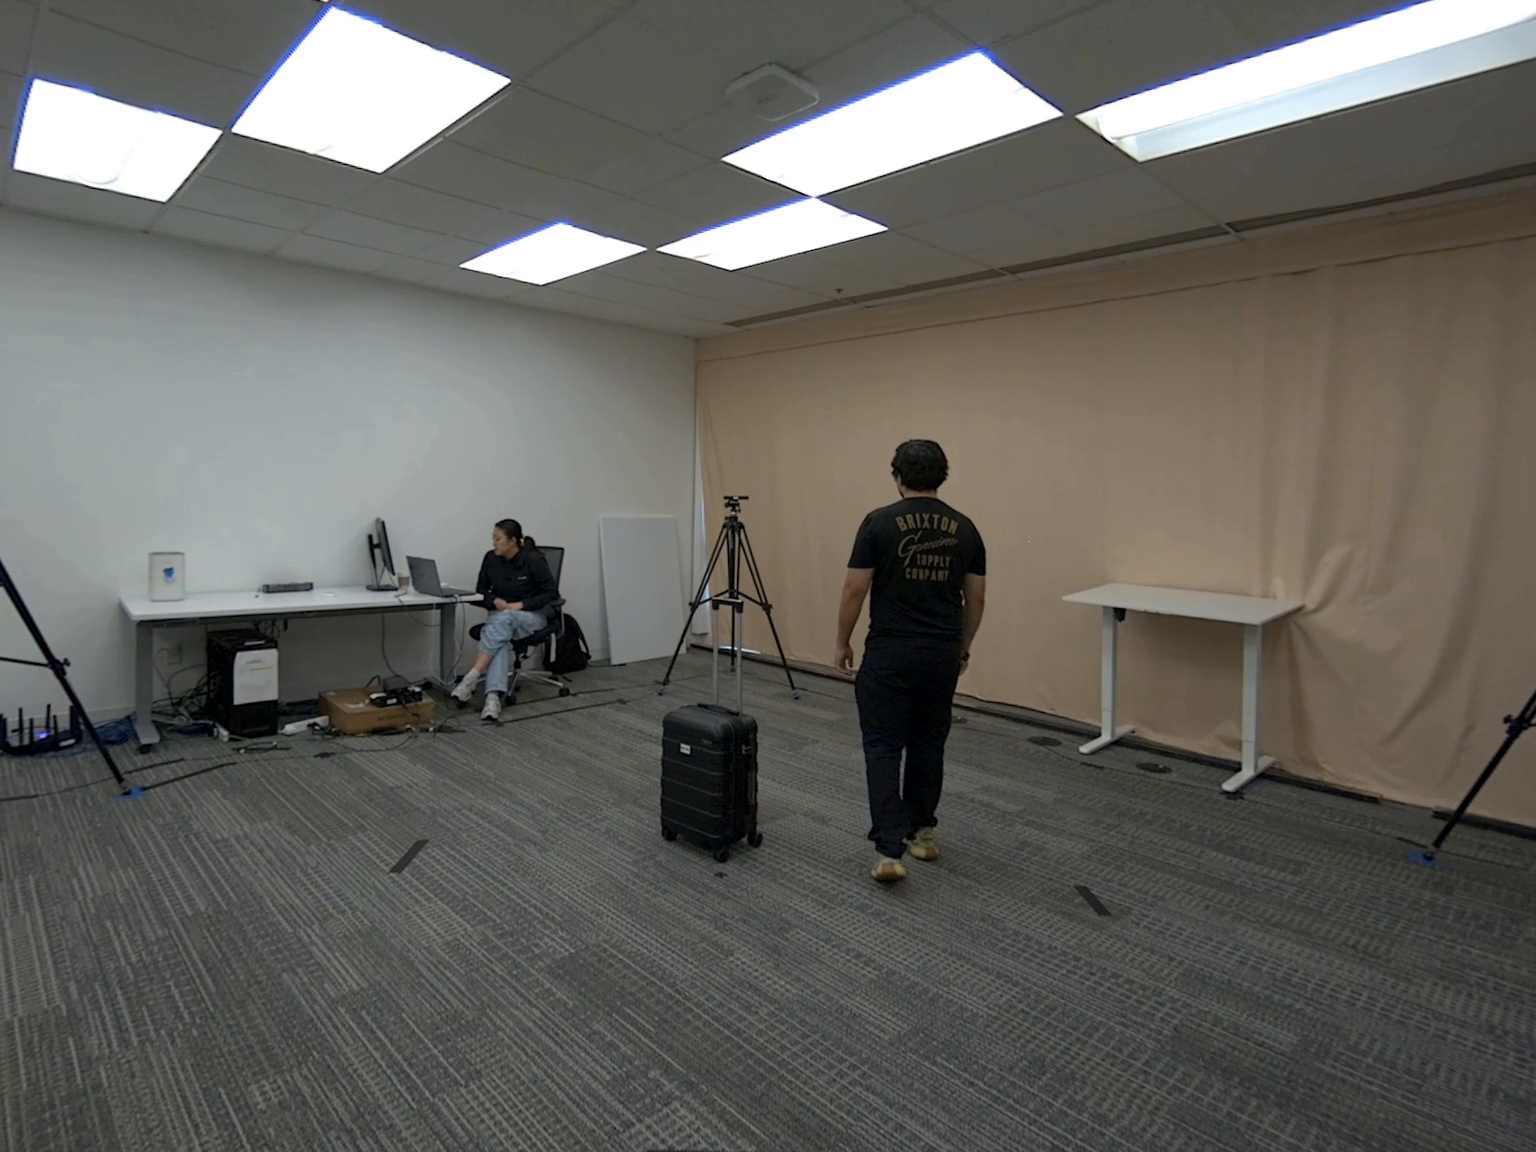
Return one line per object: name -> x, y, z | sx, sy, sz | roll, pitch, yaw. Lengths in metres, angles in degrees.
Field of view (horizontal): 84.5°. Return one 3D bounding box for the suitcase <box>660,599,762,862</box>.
suitcase -> -0.237, 0.598, 3.354 | 0.393, 0.975, 0.252 | 4, 7, 40
